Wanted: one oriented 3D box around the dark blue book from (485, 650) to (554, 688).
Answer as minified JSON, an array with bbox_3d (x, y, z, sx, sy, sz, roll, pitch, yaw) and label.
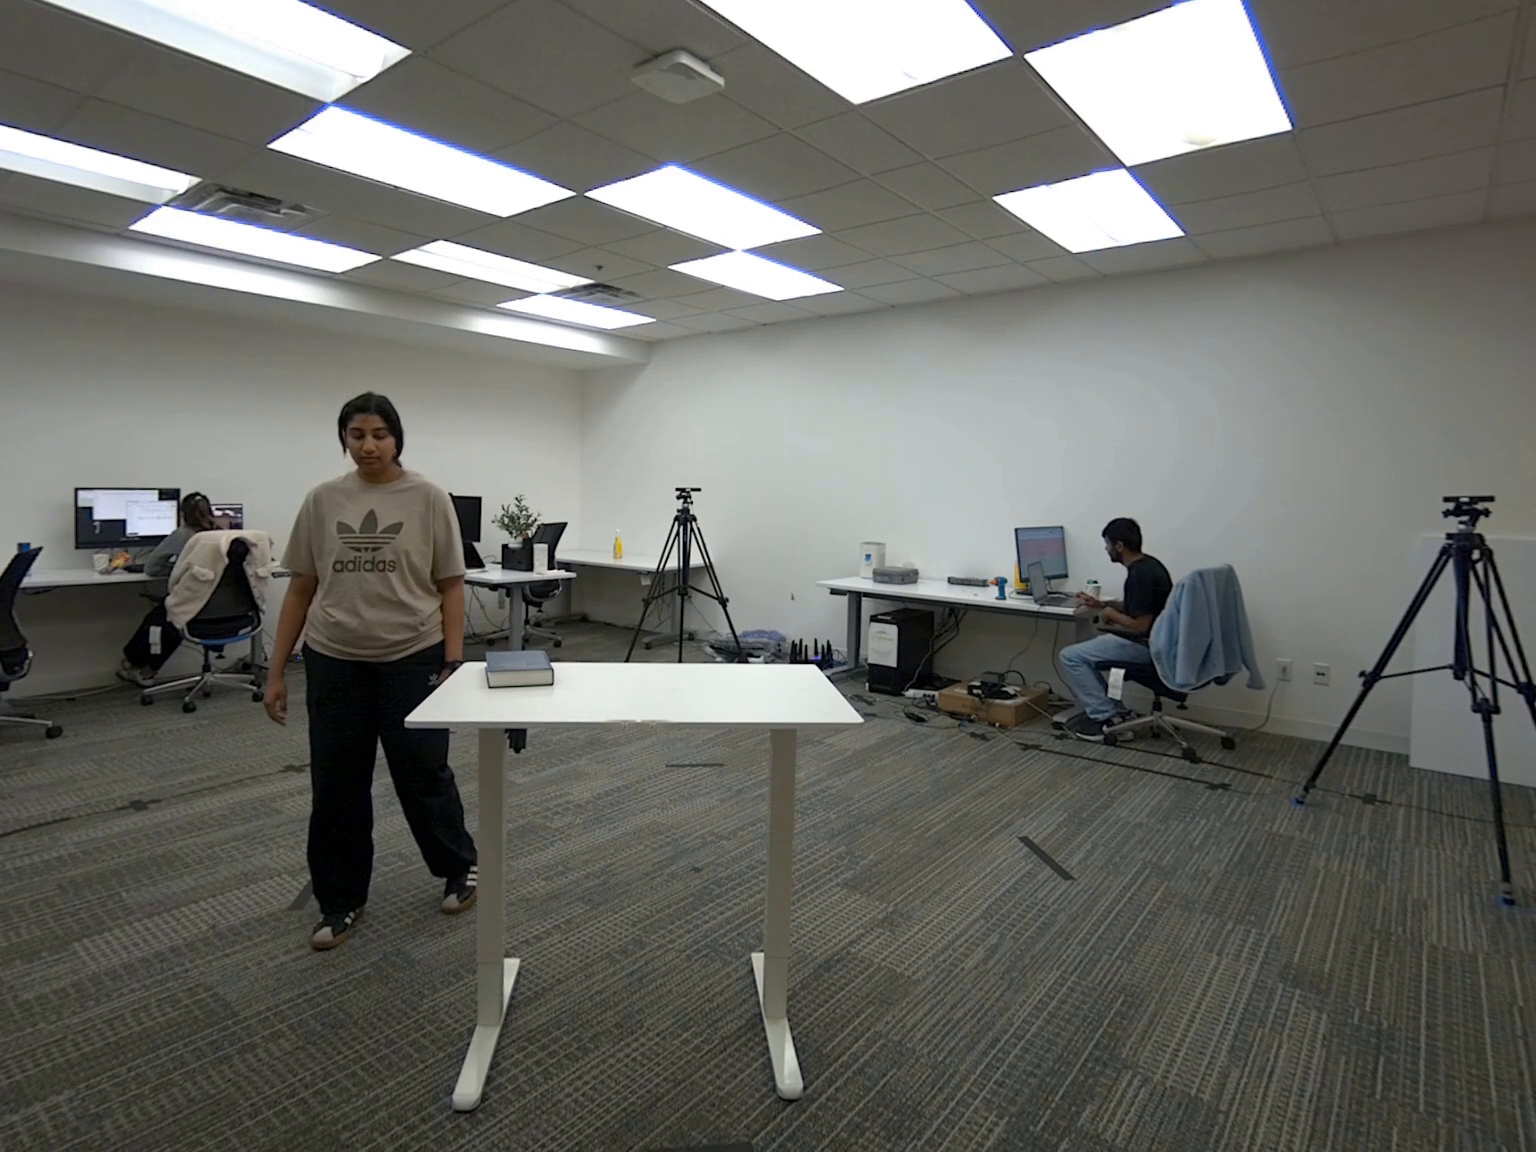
[{"bbox_3d":[-0.671,0.244,2.241,0.160,0.045,0.251,-1,7,-20],"label":"dark blue book"}]
